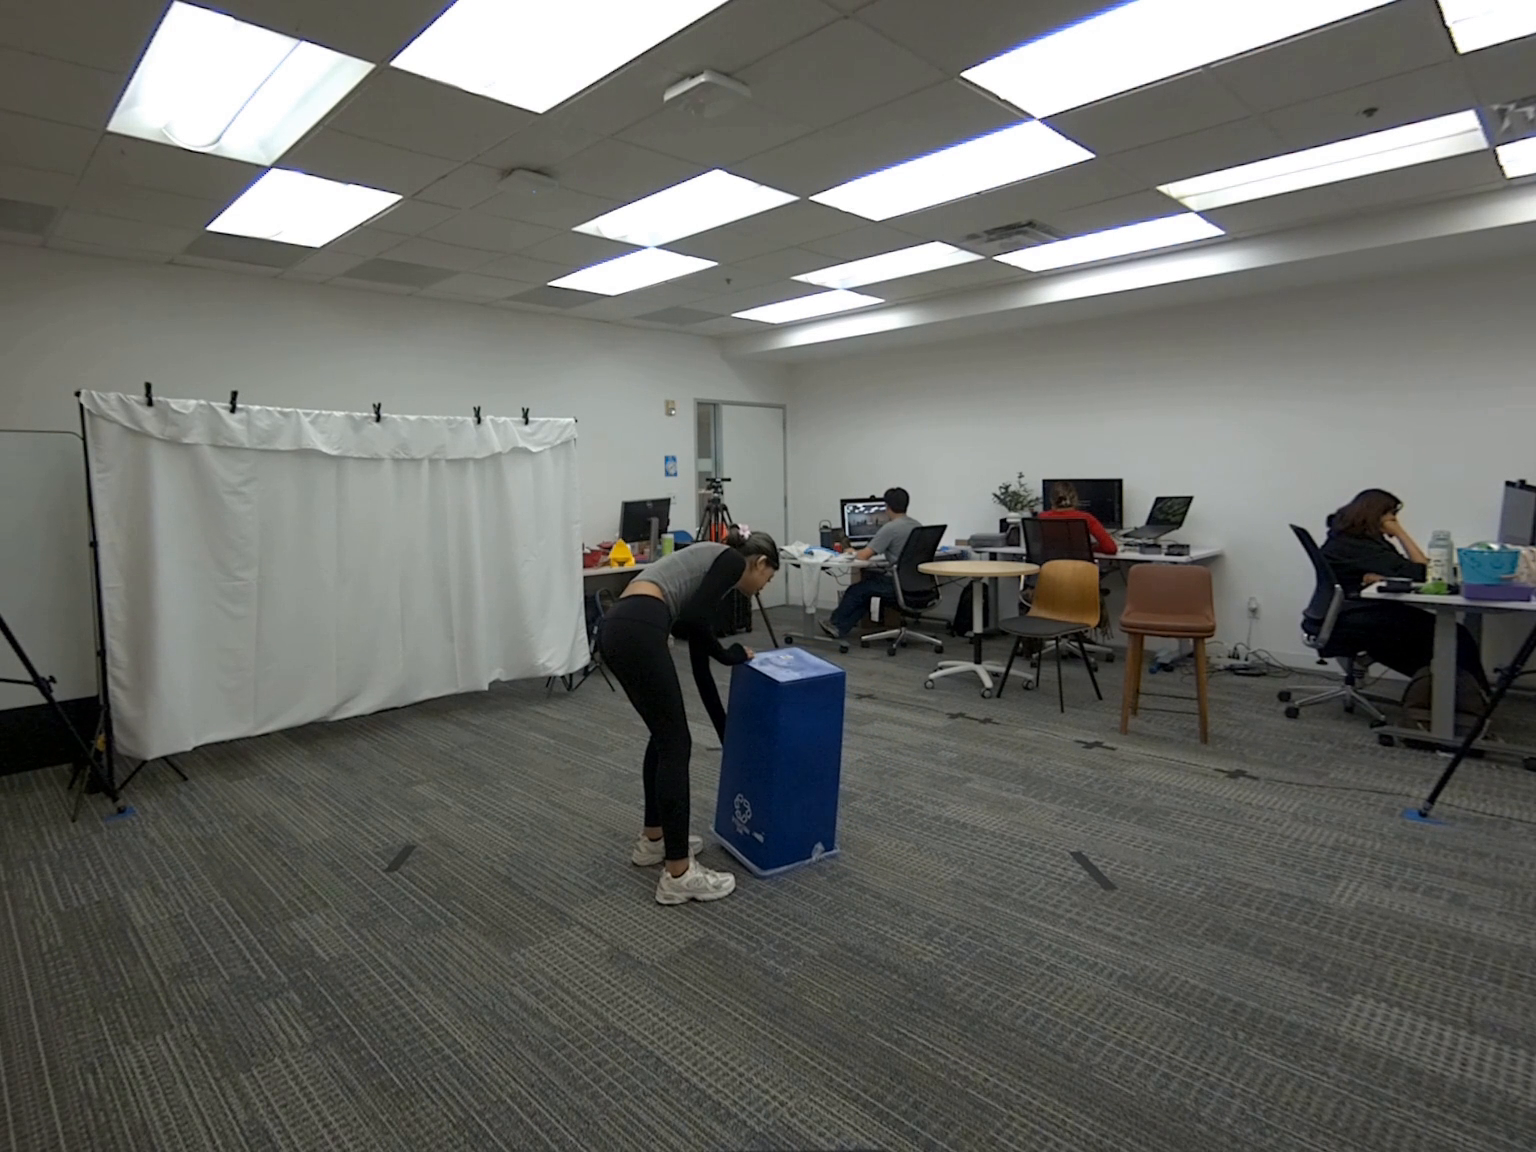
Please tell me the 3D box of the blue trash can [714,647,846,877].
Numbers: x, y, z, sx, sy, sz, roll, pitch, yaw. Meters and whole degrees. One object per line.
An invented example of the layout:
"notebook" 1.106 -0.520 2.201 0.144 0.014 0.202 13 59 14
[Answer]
"blue trash can" 0.051 0.662 3.151 0.368 0.707 0.387 -3 13 -34
